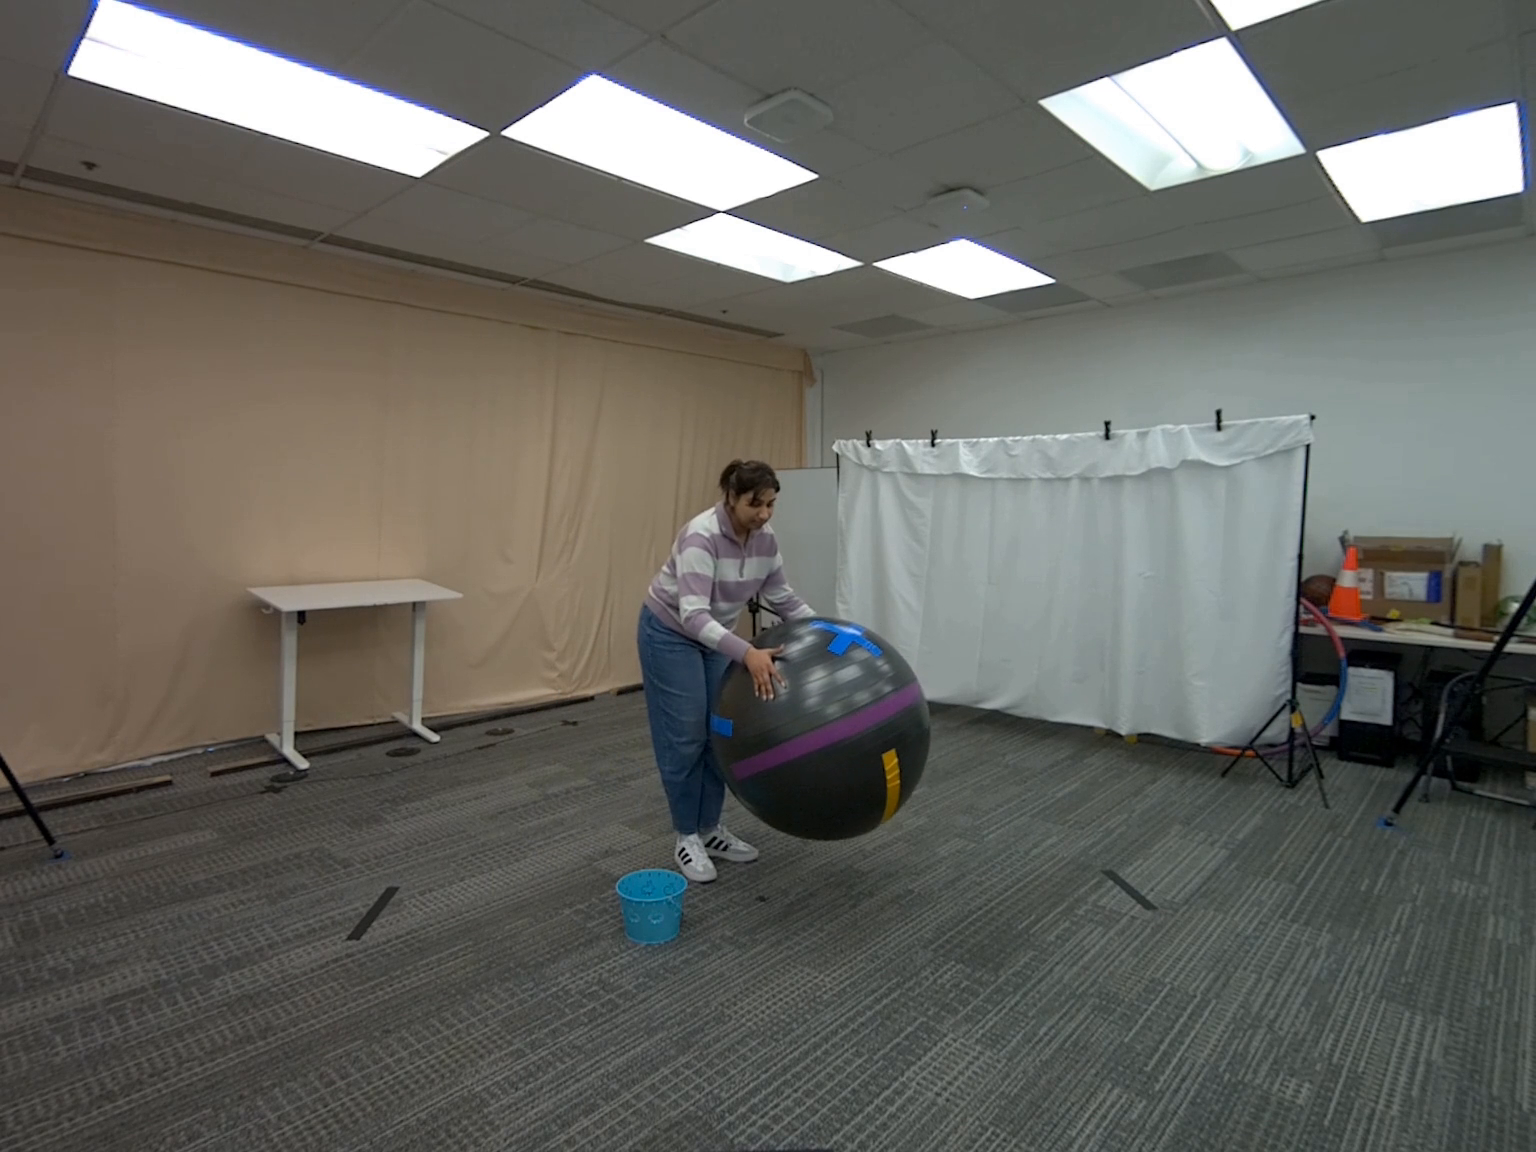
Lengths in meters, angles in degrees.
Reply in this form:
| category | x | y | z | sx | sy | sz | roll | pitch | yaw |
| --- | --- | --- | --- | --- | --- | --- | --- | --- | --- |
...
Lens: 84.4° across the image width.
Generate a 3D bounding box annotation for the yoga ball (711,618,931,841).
| category | x | y | z | sx | sy | sz | roll | pitch | yaw |
| --- | --- | --- | --- | --- | --- | --- | --- | --- | --- |
| yoga ball | 0.176 | 0.533 | 2.935 | 0.757 | 0.756 | 0.760 | 0 | 4 | -2 |
